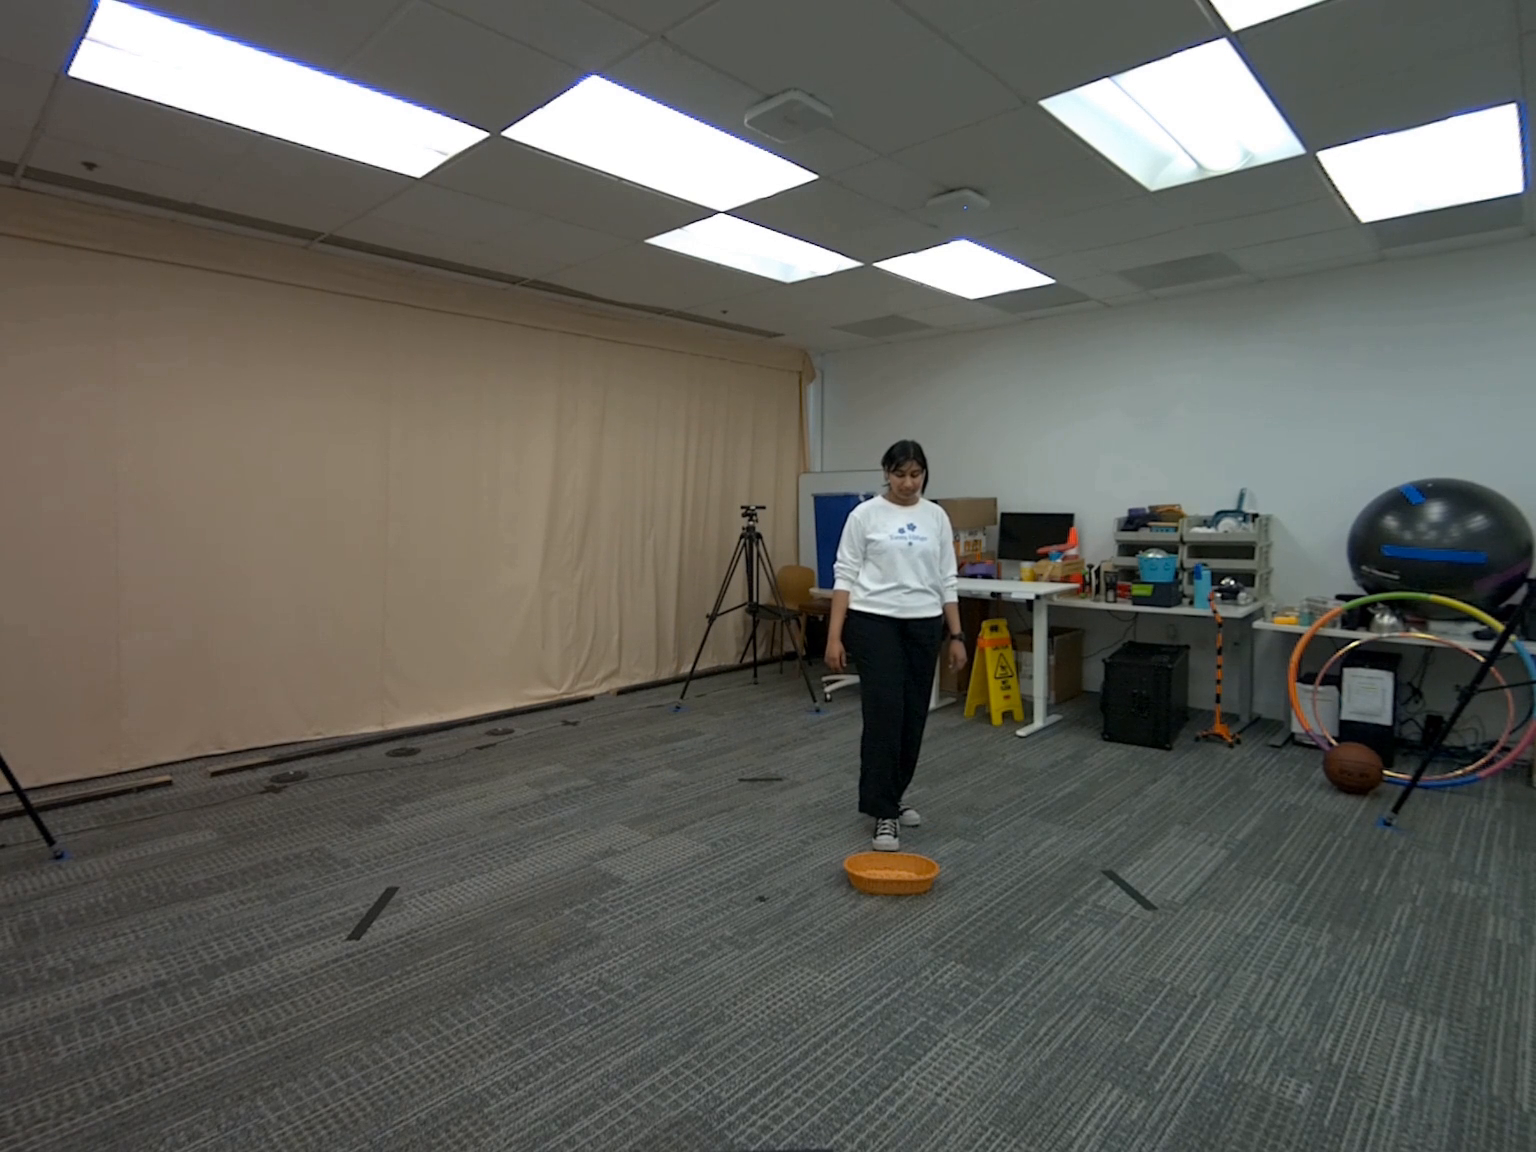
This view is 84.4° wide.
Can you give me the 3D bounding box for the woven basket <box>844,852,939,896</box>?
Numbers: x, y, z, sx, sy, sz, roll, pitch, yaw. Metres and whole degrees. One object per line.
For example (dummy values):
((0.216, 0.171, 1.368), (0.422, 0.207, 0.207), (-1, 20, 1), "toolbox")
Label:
((0.456, 1.092, 3.101), (0.352, 0.073, 0.251), (0, 3, 4), "woven basket")
